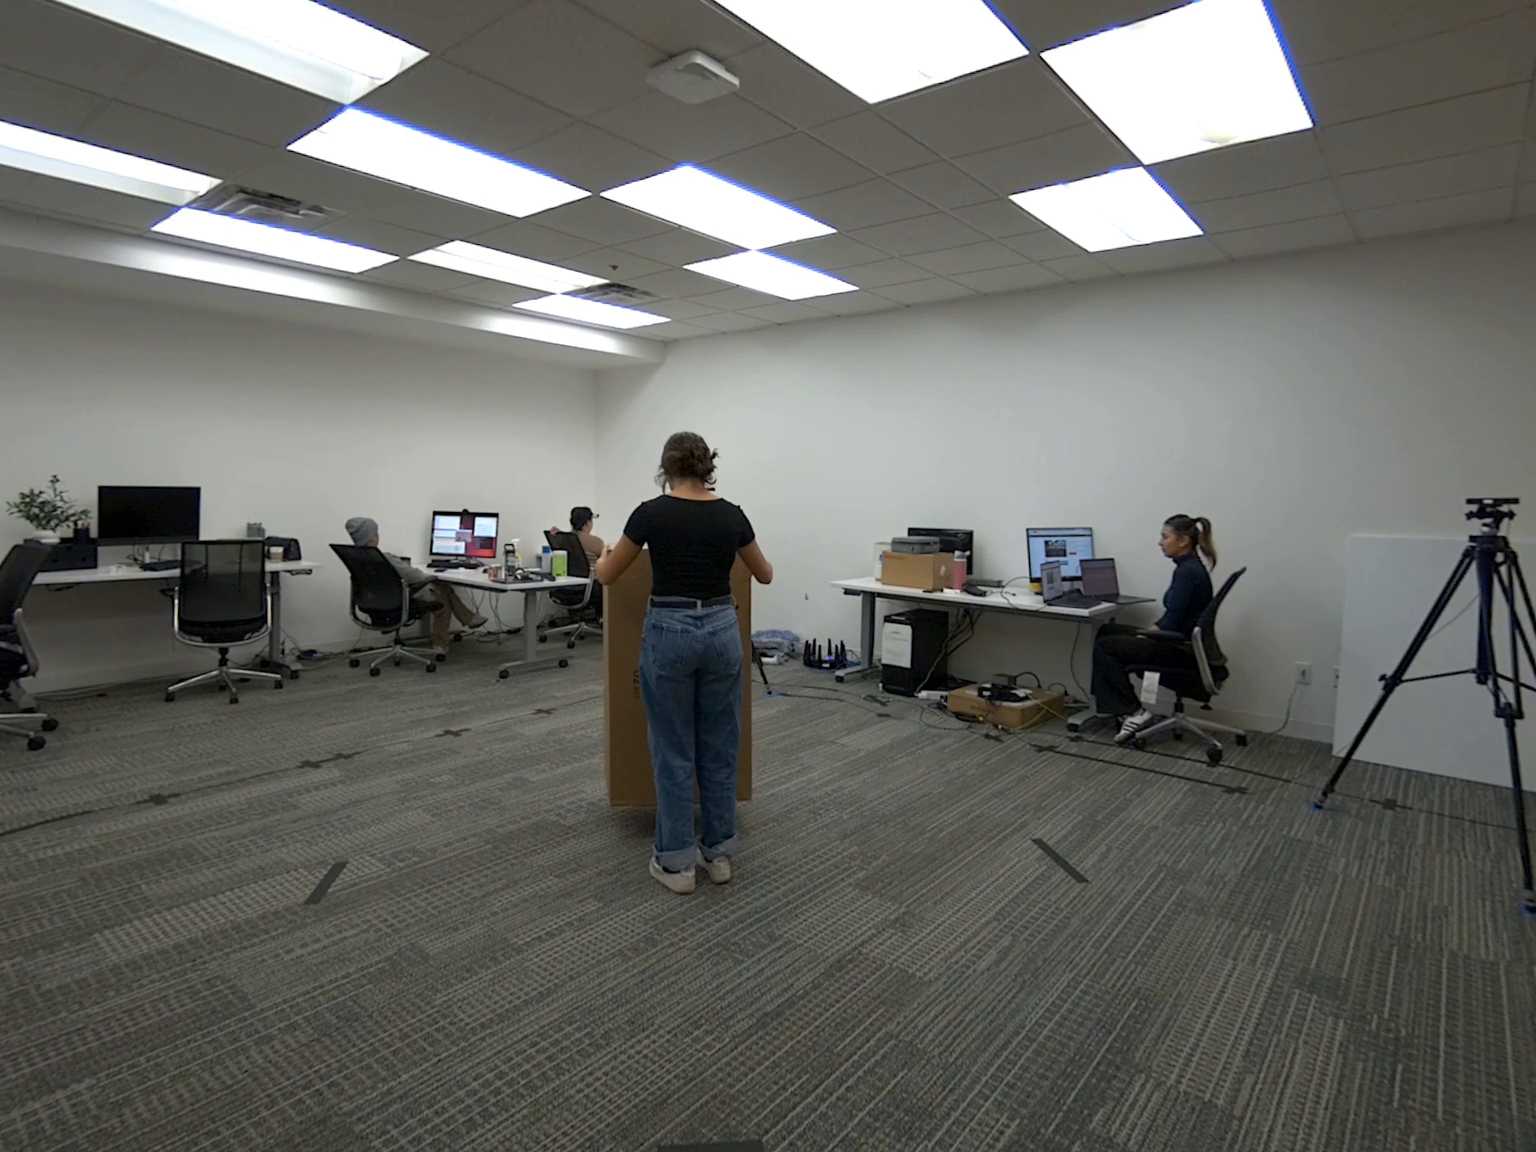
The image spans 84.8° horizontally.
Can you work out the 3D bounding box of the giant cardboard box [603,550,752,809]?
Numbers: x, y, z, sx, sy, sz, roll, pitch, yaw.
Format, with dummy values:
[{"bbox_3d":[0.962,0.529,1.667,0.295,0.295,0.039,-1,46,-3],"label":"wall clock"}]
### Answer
[{"bbox_3d":[-0.398,0.384,3.557,0.572,1.023,0.432,-1,3,-10],"label":"giant cardboard box"}]
